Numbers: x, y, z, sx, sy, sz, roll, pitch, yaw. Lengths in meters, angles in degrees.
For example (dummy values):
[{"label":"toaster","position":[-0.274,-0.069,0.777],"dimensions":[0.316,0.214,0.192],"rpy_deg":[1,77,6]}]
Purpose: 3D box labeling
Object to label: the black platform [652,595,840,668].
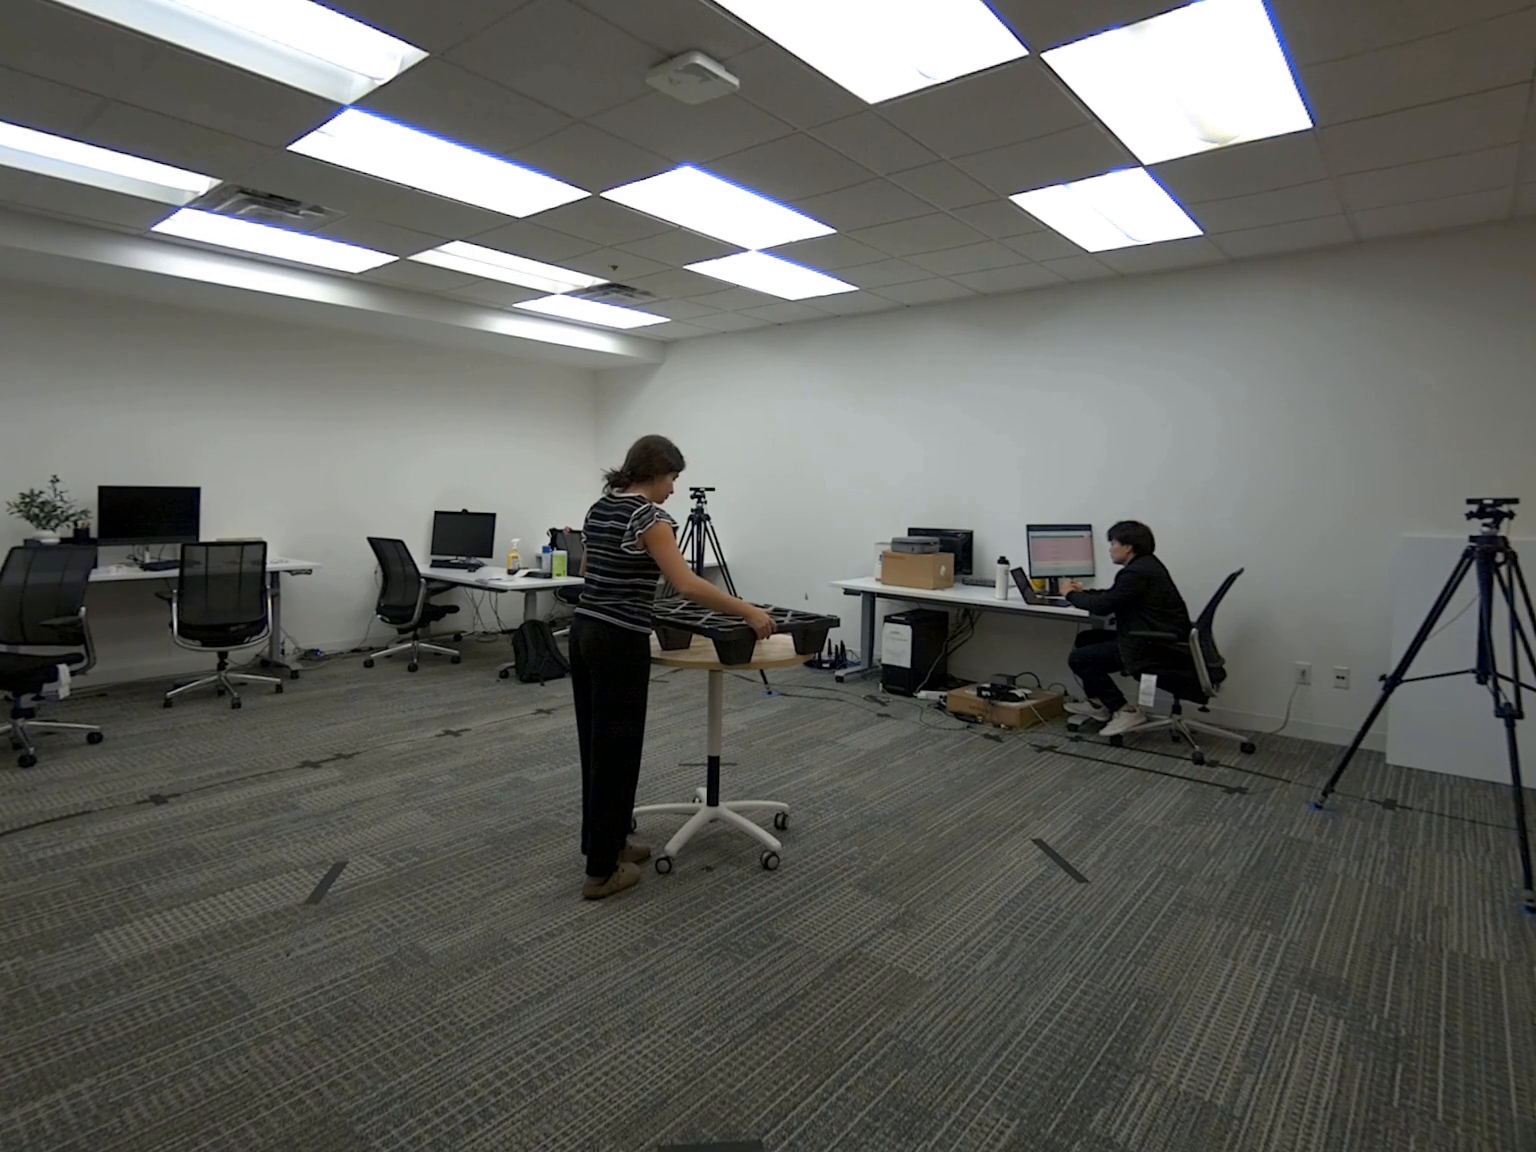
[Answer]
[{"label":"black platform","position":[-0.226,0.196,3.315],"dimensions":[0.586,0.143,0.833],"rpy_deg":[-3,7,-42]}]
